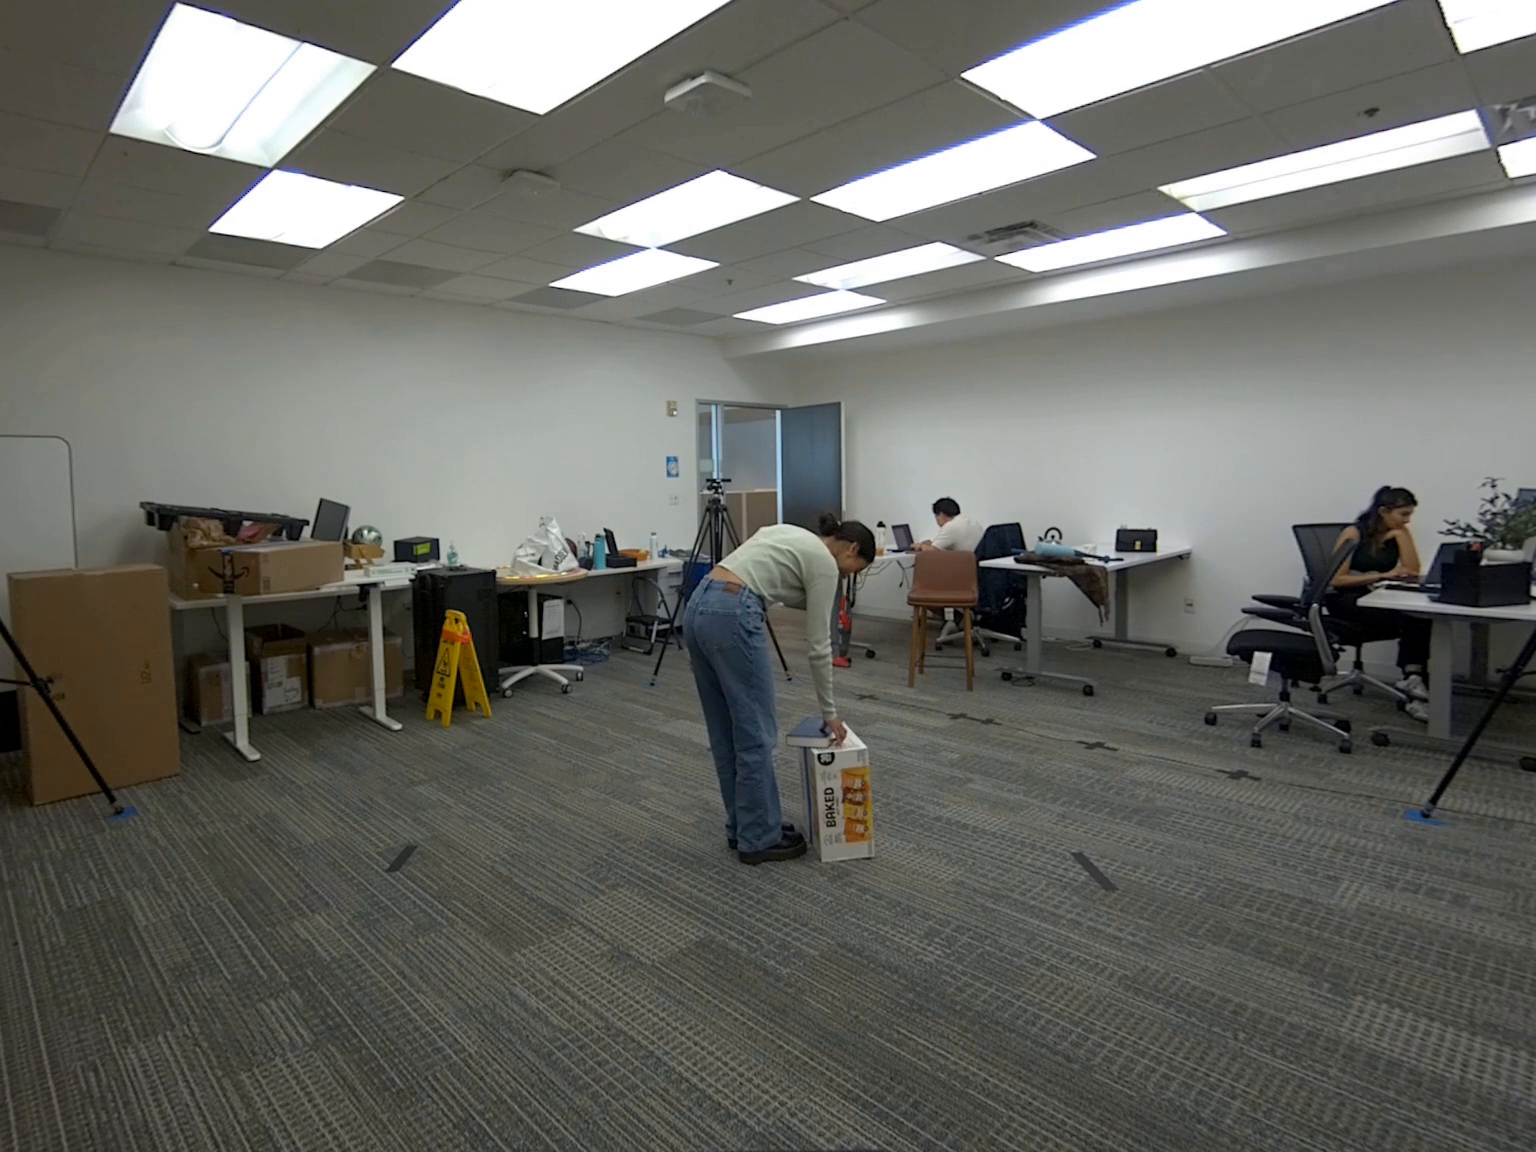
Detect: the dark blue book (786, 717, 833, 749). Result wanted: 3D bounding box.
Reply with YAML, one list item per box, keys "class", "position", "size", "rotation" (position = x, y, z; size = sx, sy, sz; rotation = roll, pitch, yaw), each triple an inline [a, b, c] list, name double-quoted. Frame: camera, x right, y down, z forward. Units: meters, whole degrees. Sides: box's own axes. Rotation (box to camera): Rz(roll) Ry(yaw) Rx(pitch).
- class: "dark blue book"
  position: [0.184, 0.597, 3.276]
  size: [0.167, 0.045, 0.241]
  rotation: [-2, 8, 22]
